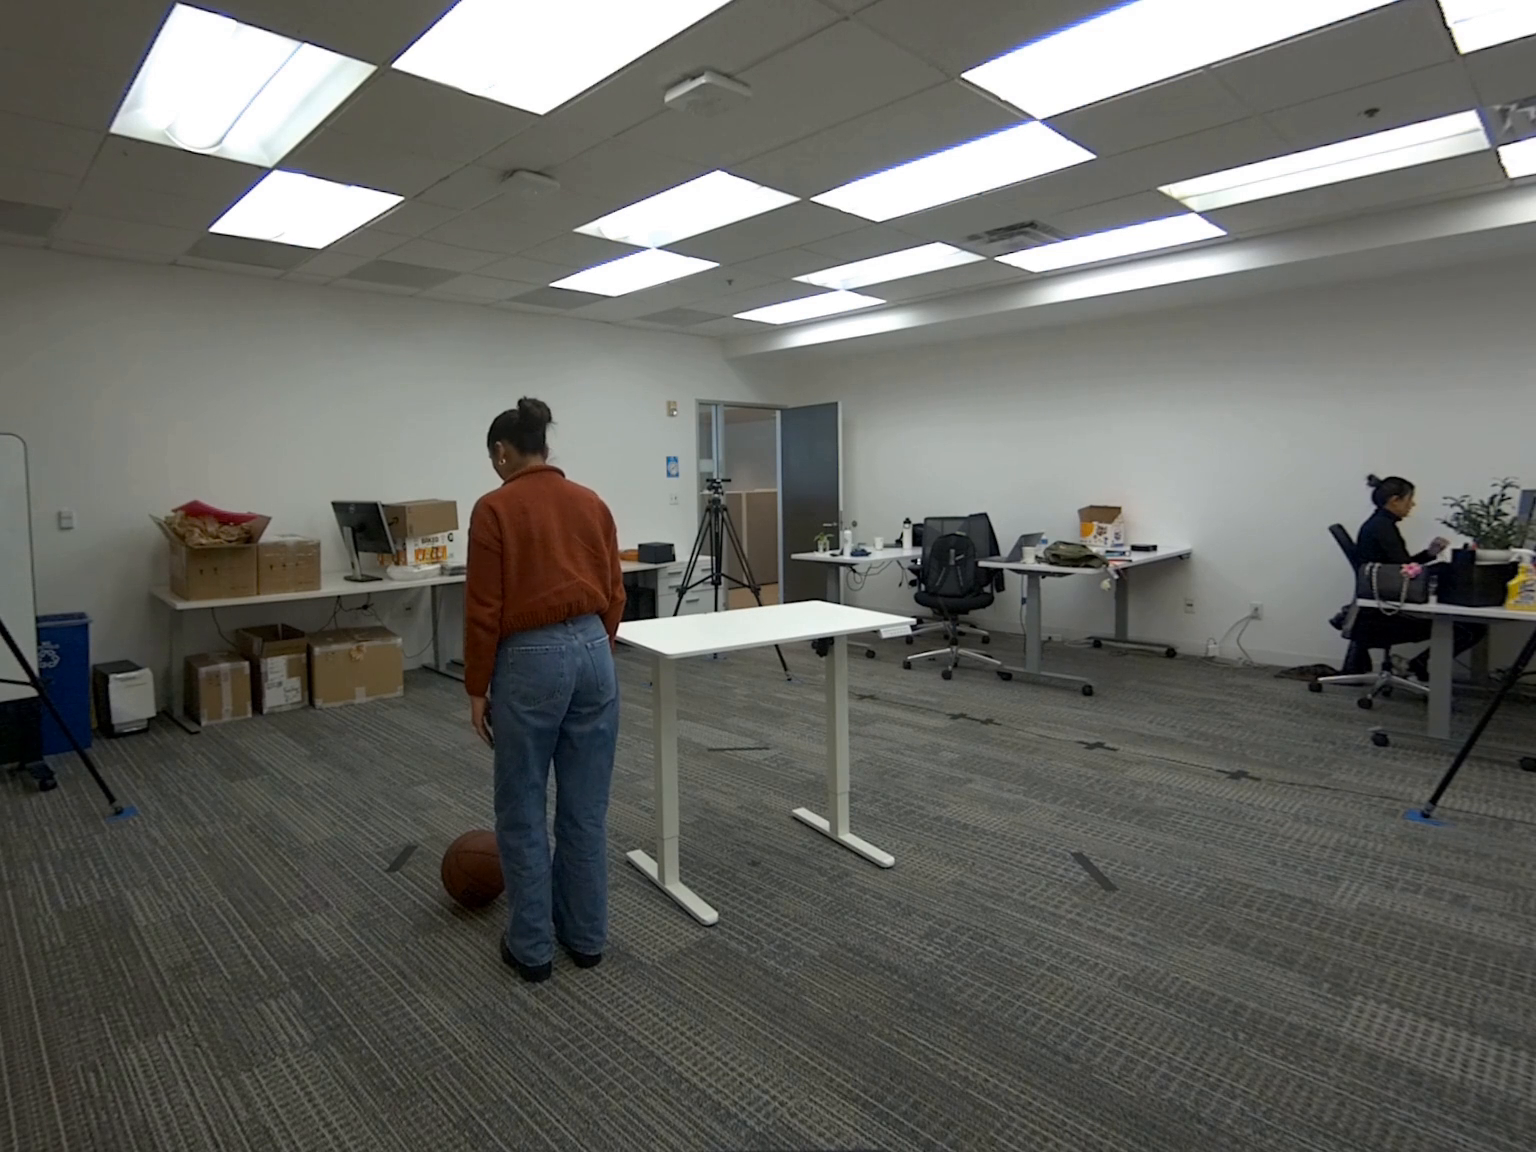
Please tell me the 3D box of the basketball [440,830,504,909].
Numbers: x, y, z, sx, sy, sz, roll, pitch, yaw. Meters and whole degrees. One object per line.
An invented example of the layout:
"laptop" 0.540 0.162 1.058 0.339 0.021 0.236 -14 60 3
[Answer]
"basketball" -0.962 0.964 2.862 0.236 0.235 0.237 -1 5 -2
